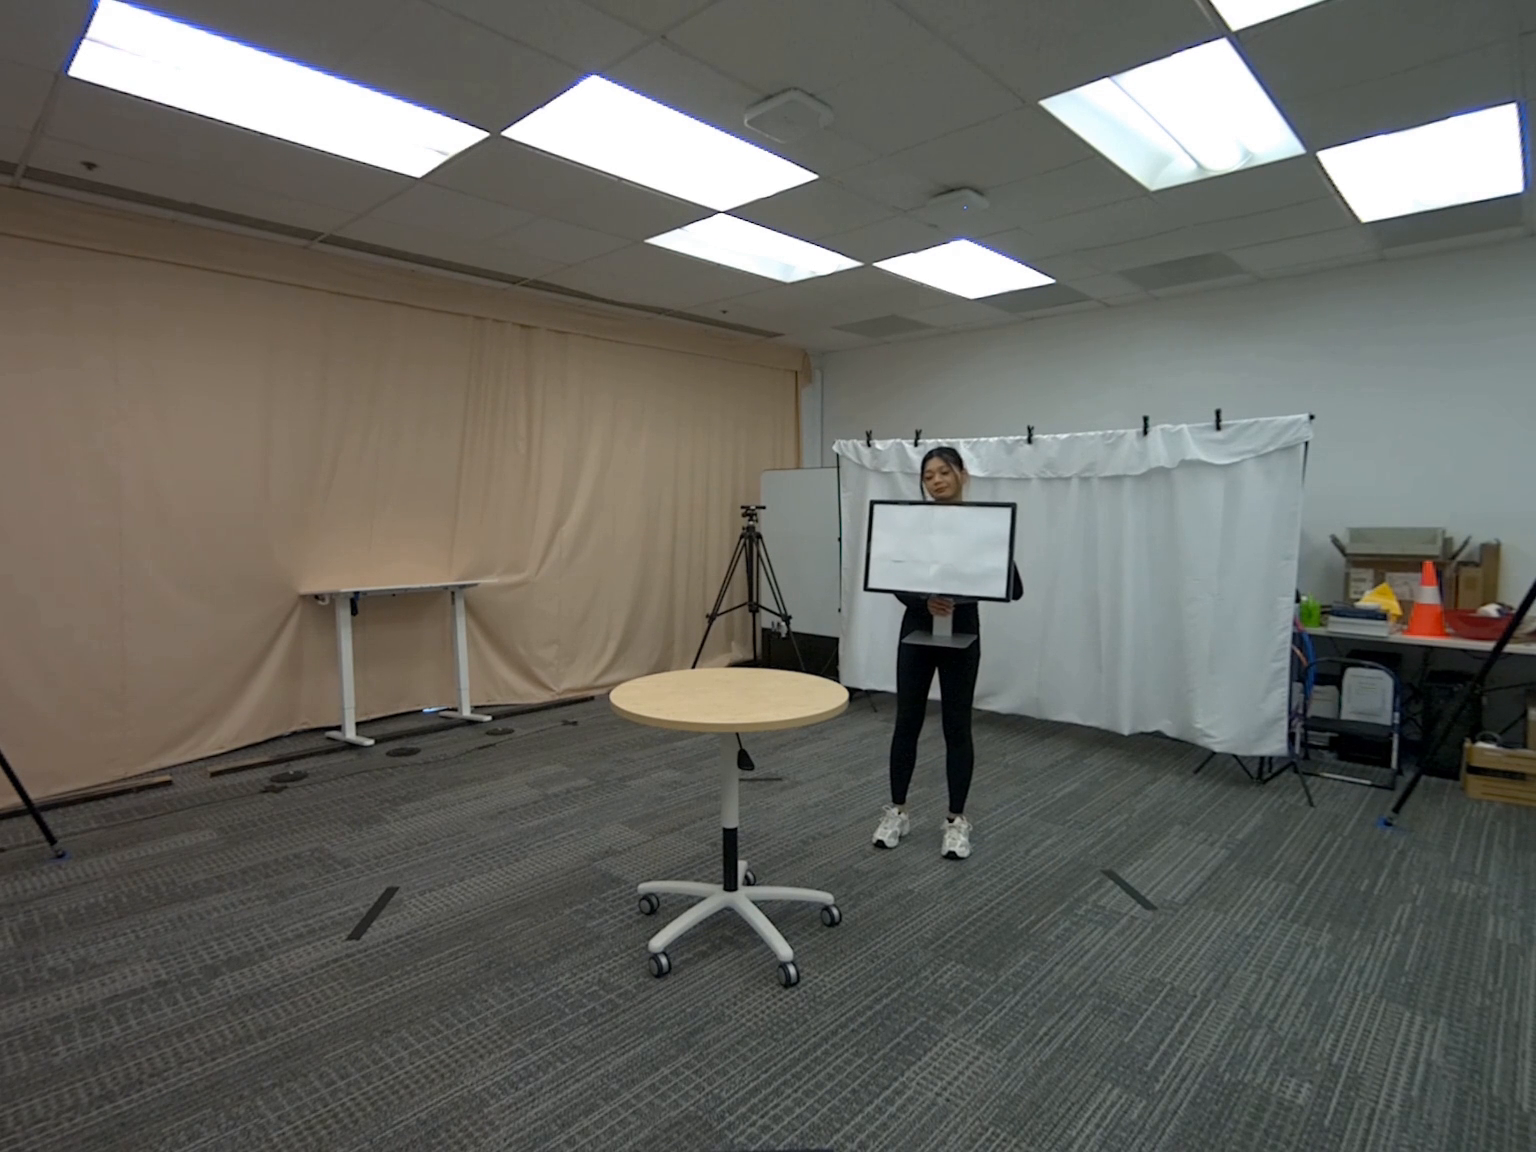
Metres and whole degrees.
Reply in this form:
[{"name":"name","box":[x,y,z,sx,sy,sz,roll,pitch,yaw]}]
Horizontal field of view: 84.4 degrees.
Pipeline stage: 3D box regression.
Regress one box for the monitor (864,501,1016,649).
[{"name":"monitor","box":[0.657,-0.013,3.225,0.554,0.520,0.183,4,9,28]}]
